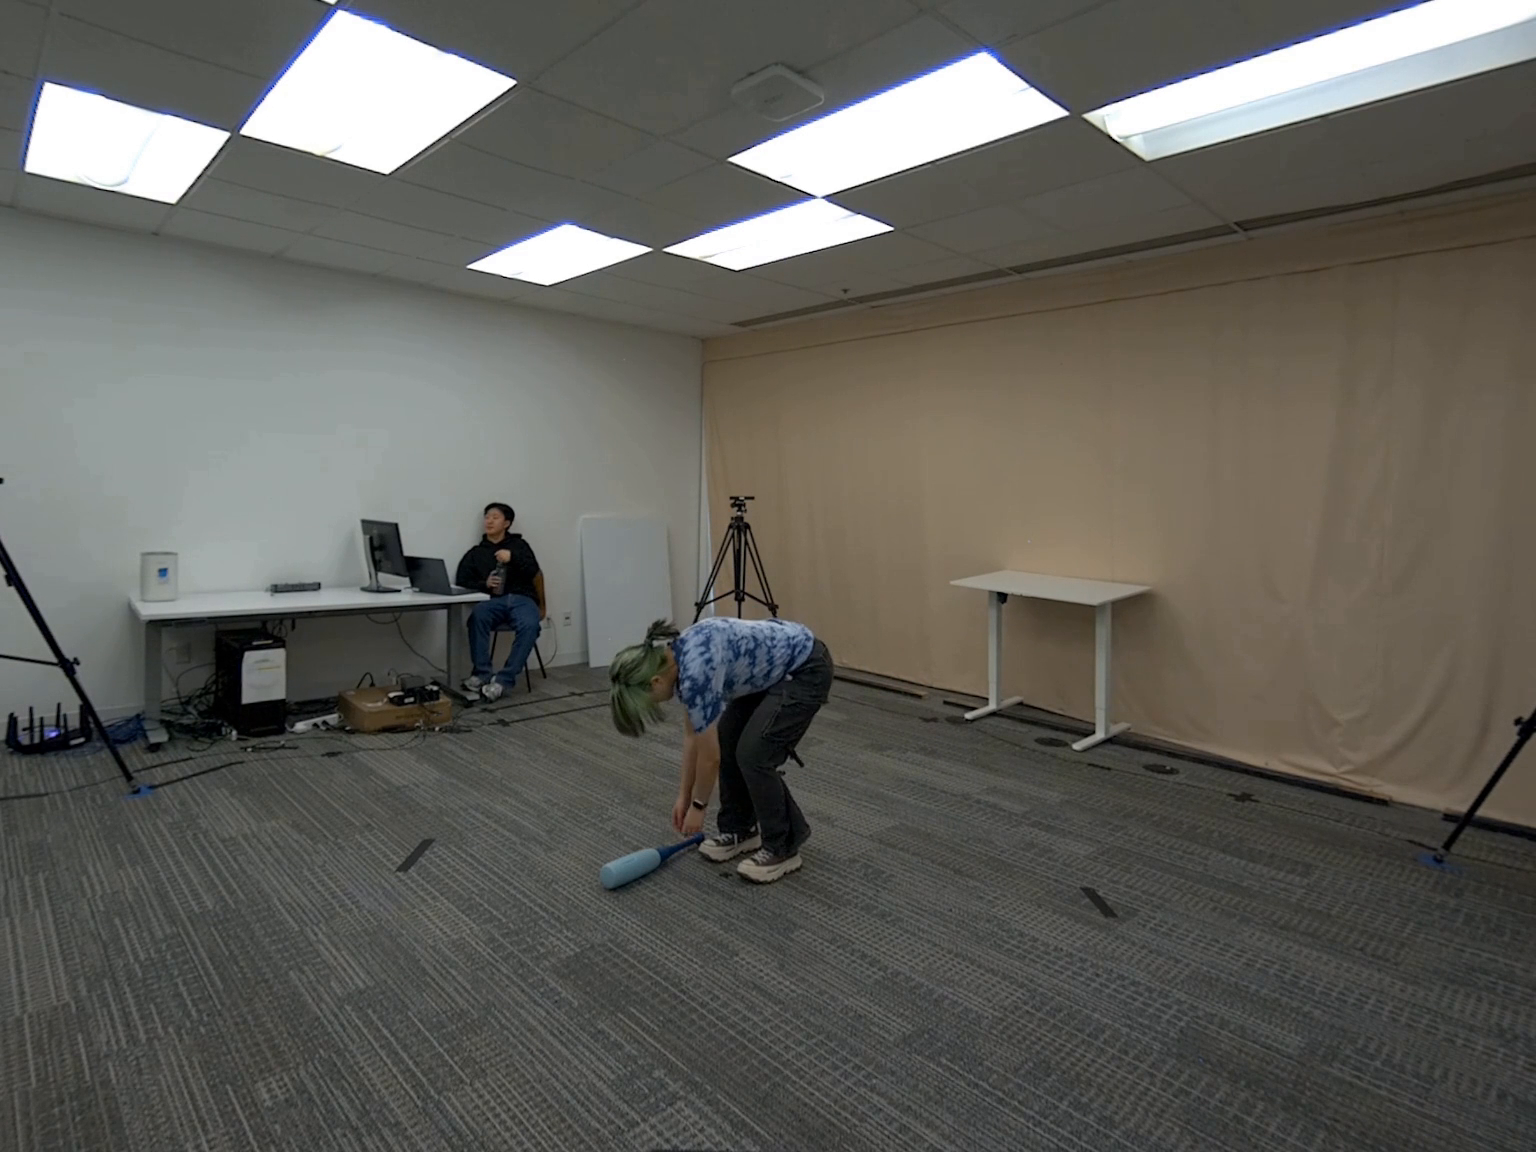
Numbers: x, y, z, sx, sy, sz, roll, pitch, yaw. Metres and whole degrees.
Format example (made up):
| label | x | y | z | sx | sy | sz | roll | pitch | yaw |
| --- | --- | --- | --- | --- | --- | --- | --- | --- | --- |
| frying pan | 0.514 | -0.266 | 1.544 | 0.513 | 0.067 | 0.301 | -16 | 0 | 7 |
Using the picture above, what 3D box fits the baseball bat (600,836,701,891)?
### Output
| label | x | y | z | sx | sy | sz | roll | pitch | yaw |
| --- | --- | --- | --- | --- | --- | --- | --- | --- | --- |
| baseball bat | -0.423 | 1.055 | 3.167 | 0.091 | 0.089 | 0.531 | 4 | 3 | 33 |
